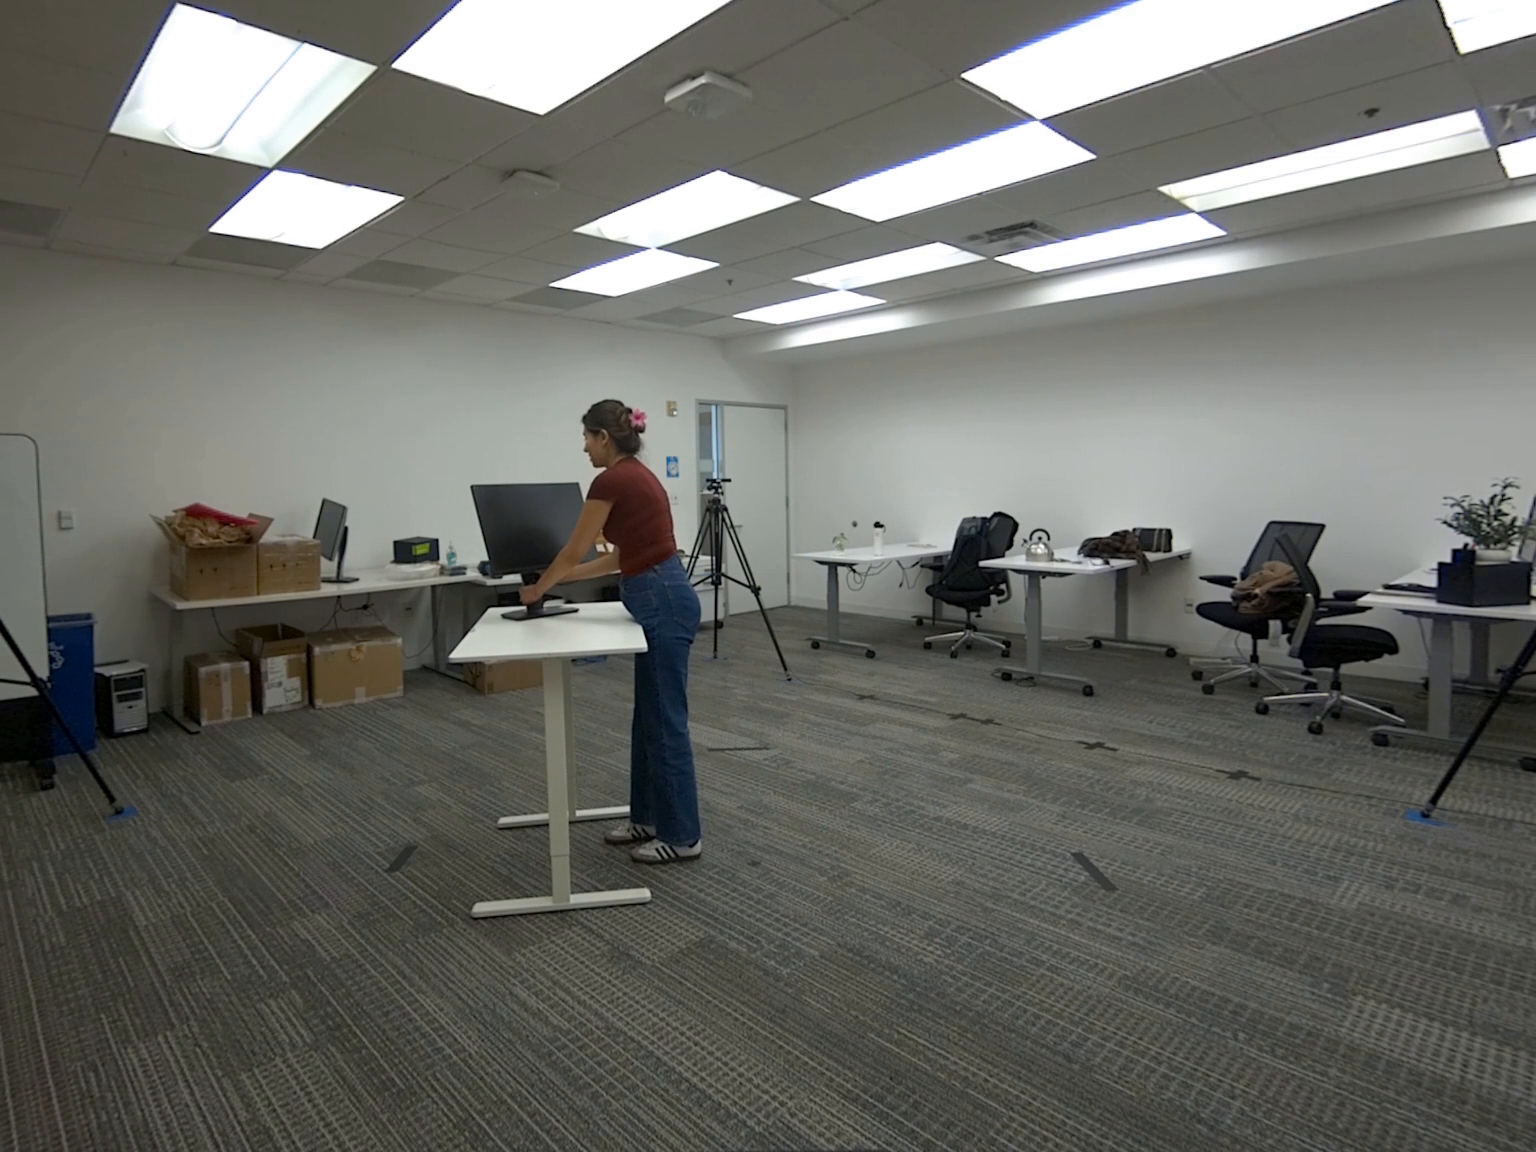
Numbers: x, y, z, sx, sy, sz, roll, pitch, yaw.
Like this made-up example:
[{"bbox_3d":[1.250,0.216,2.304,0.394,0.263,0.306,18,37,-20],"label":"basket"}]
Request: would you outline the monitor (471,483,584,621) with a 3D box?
[{"bbox_3d":[-0.911,-0.105,3.352,0.192,0.521,0.526,-3,3,35],"label":"monitor"}]
